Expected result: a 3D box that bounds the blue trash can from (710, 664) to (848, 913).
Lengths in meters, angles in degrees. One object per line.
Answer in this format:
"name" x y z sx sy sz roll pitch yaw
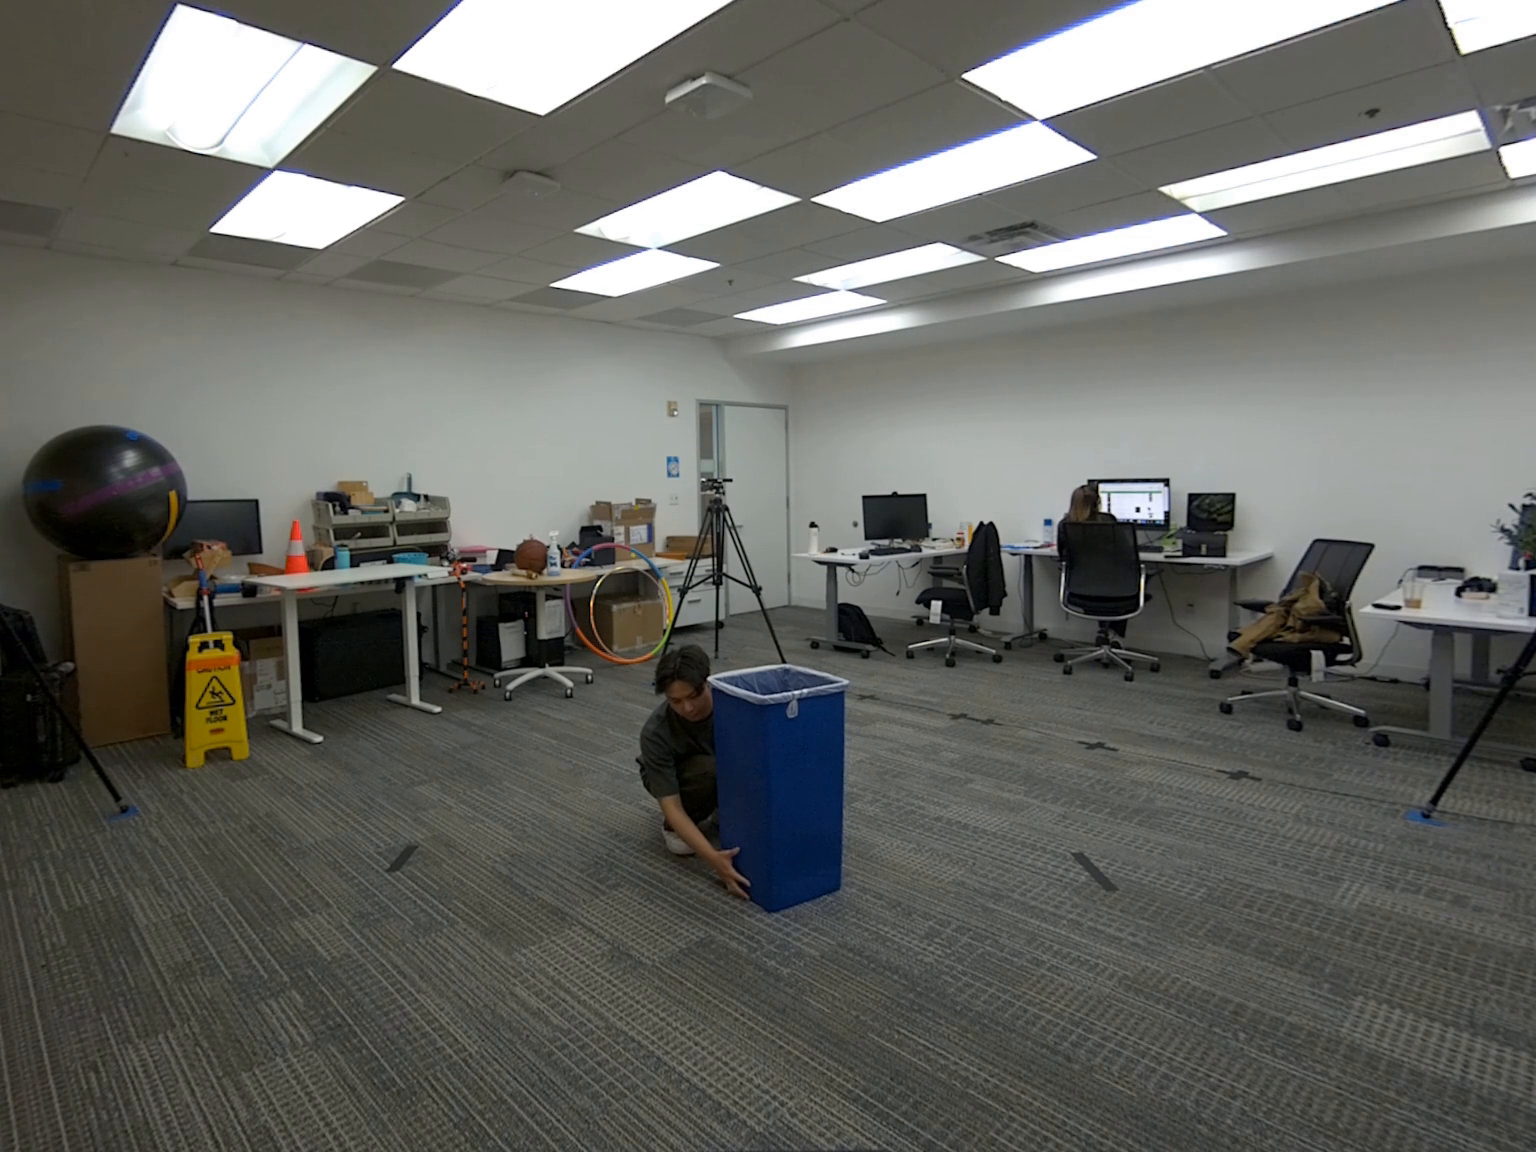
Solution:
"blue trash can" 0.048 0.703 2.930 0.365 0.711 0.389 -4 5 -33
